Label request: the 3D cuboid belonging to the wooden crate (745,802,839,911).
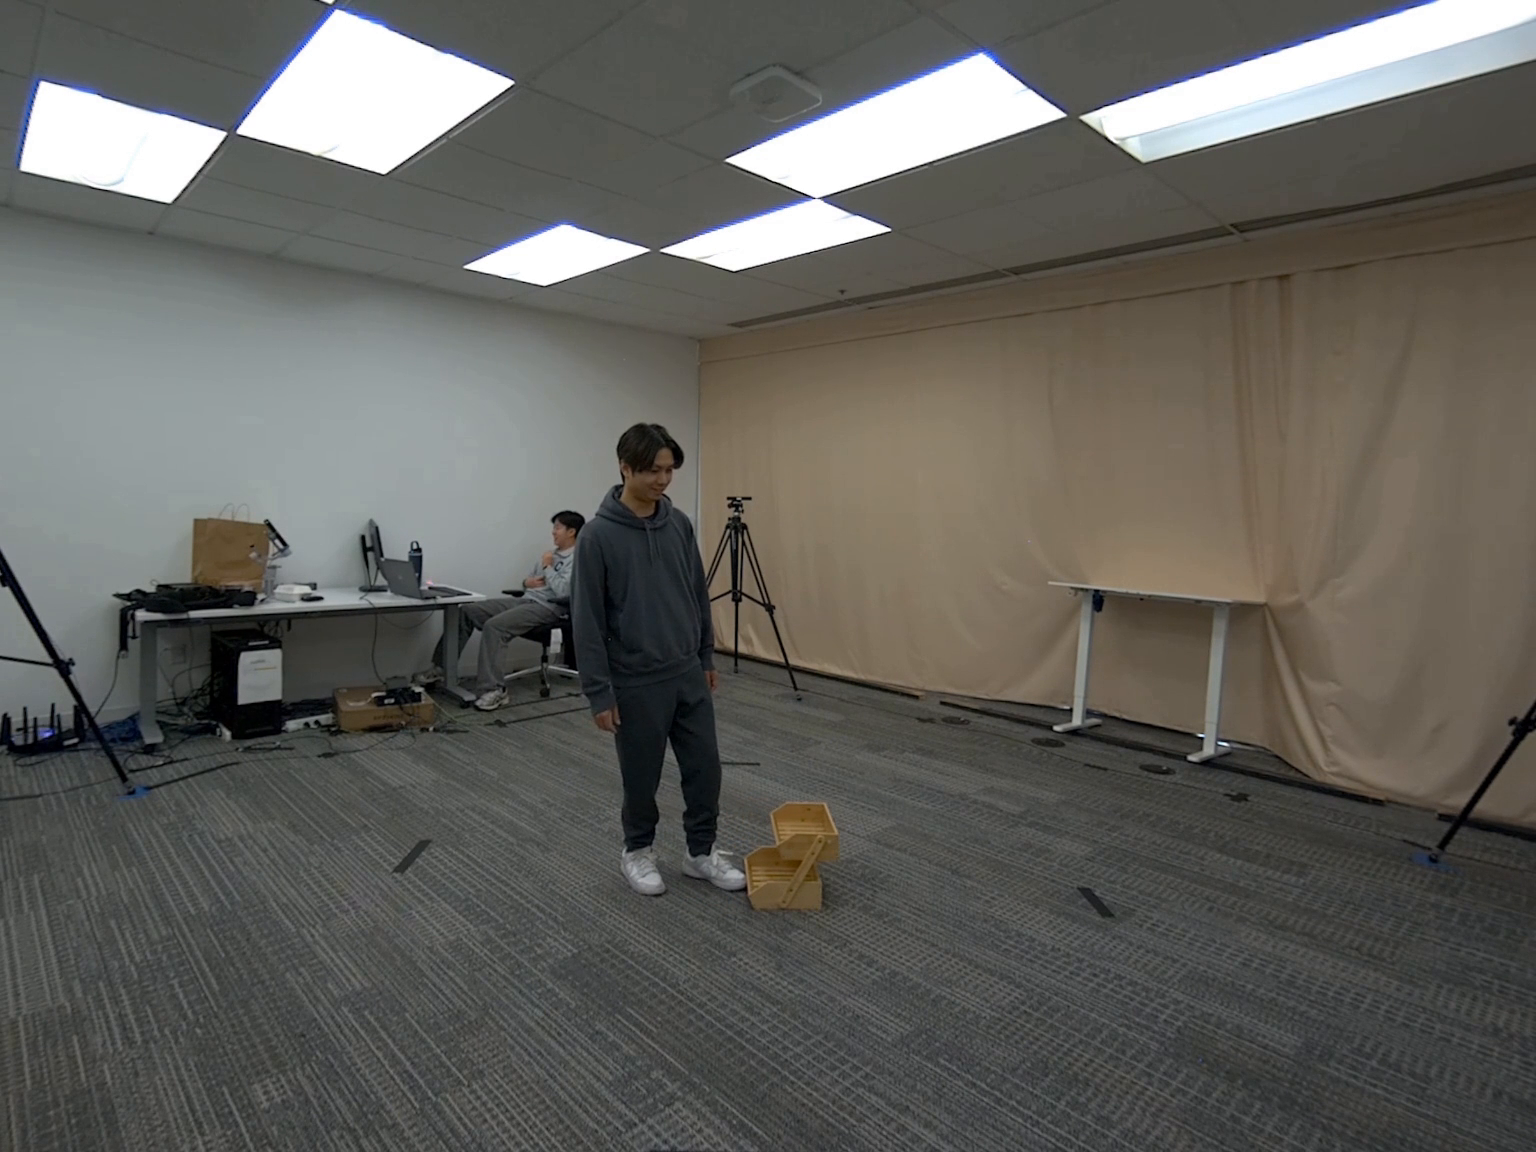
[{"bbox_3d":[0.064,0.987,2.999,0.301,0.272,0.326,2,4,-4],"label":"wooden crate"}]
